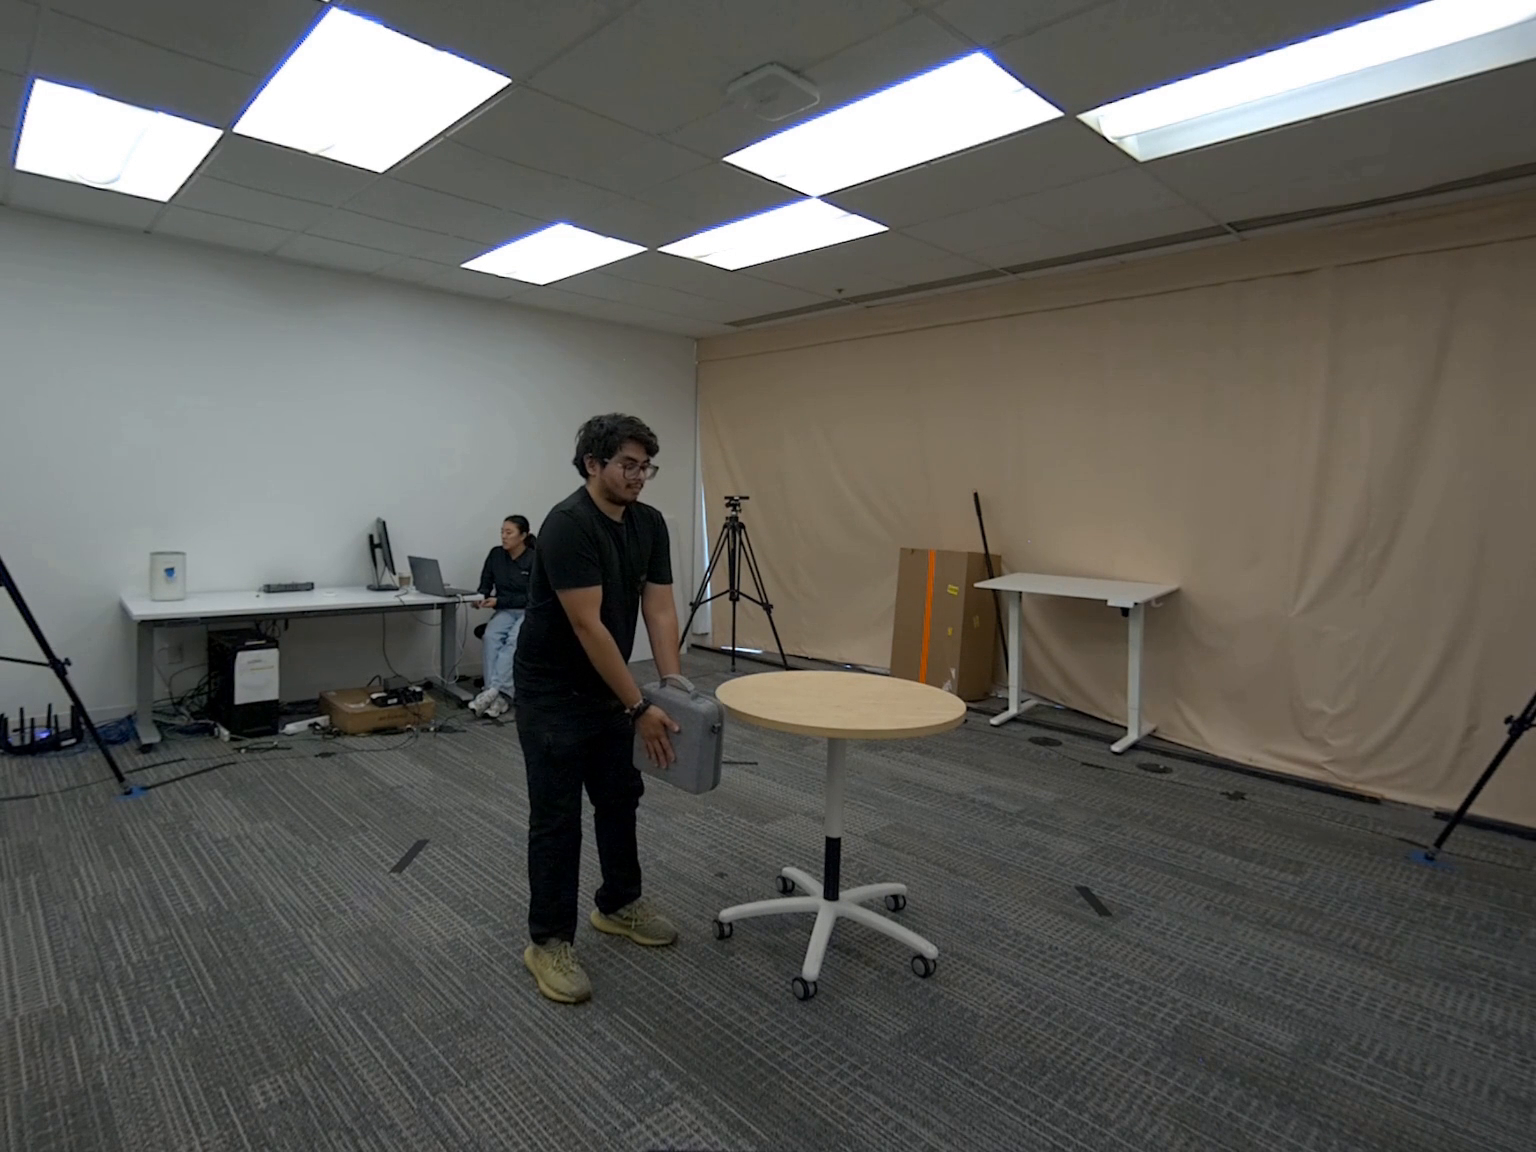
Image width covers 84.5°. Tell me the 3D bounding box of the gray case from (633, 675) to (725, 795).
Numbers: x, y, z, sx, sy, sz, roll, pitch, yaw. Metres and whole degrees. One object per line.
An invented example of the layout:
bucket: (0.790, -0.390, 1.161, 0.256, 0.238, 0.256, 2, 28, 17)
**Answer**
gray case: (-0.244, 0.439, 2.274, 0.263, 0.259, 0.102, 10, 13, 33)
